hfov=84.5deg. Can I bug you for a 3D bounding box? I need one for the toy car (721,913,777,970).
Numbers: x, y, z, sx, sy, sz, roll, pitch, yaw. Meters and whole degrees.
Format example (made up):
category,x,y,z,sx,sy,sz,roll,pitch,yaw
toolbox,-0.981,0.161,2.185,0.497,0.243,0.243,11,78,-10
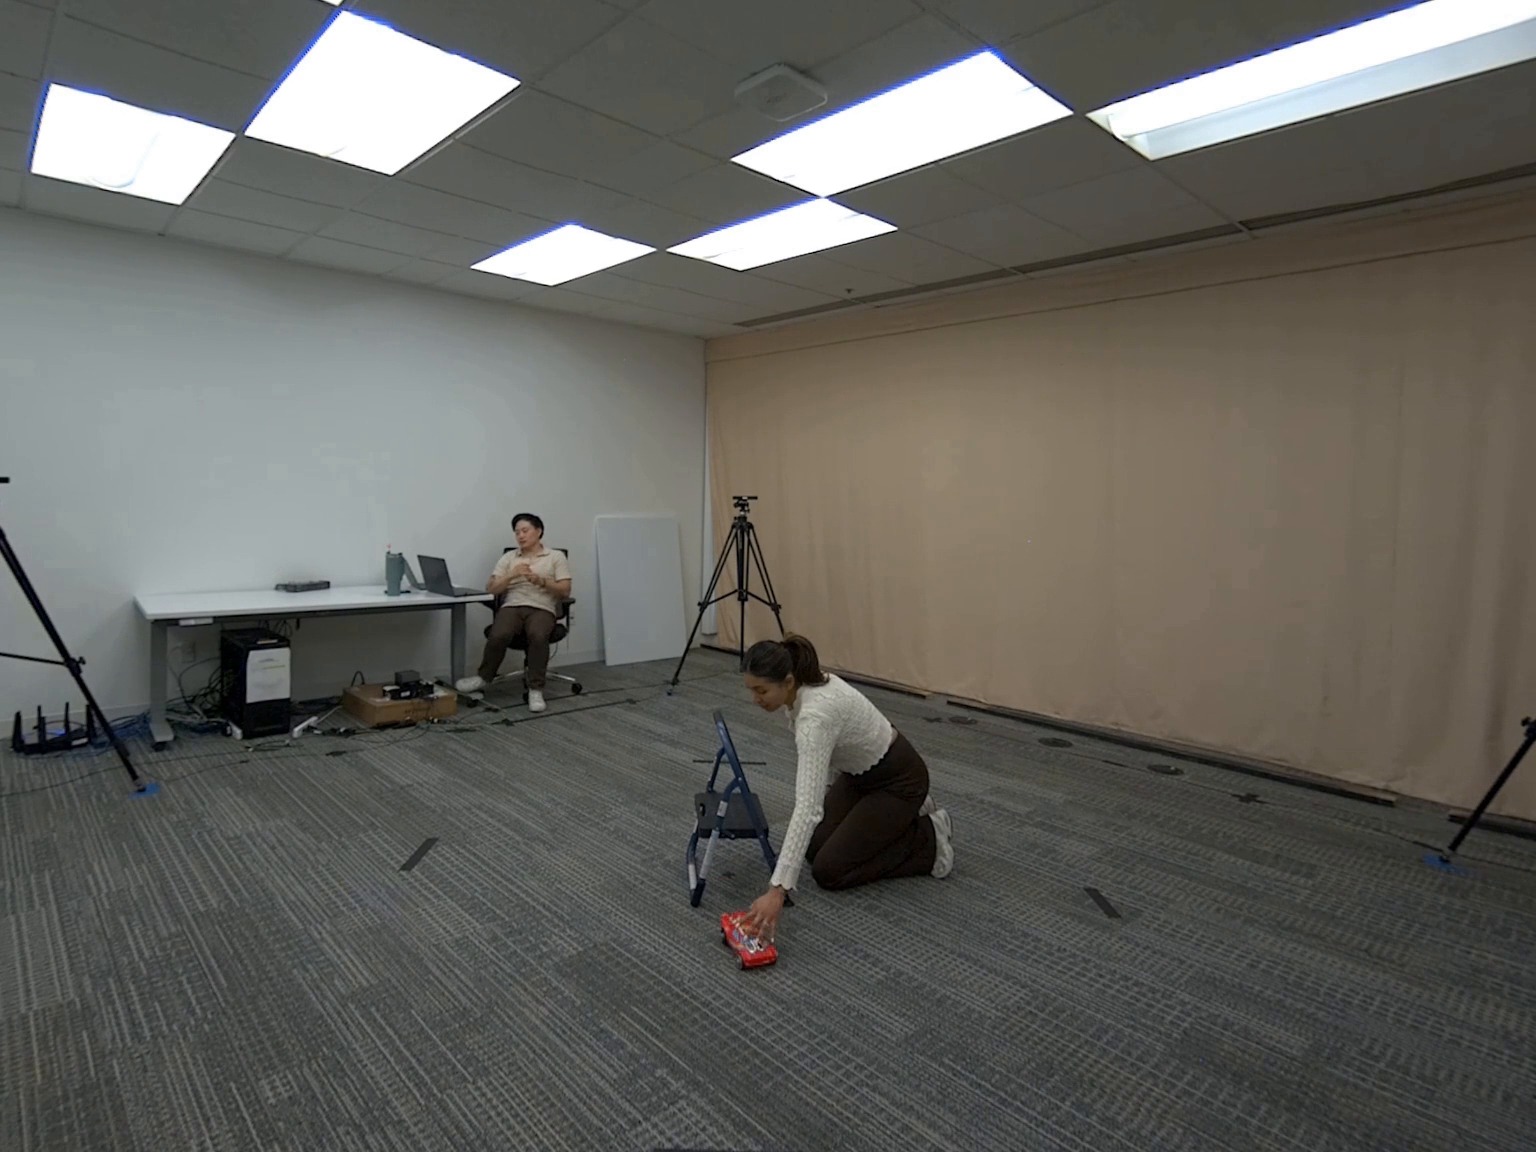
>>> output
category,x,y,z,sx,sy,sz,roll,pitch,yaw
toy car,-0.083,1.118,2.597,0.128,0.082,0.261,0,17,-19
